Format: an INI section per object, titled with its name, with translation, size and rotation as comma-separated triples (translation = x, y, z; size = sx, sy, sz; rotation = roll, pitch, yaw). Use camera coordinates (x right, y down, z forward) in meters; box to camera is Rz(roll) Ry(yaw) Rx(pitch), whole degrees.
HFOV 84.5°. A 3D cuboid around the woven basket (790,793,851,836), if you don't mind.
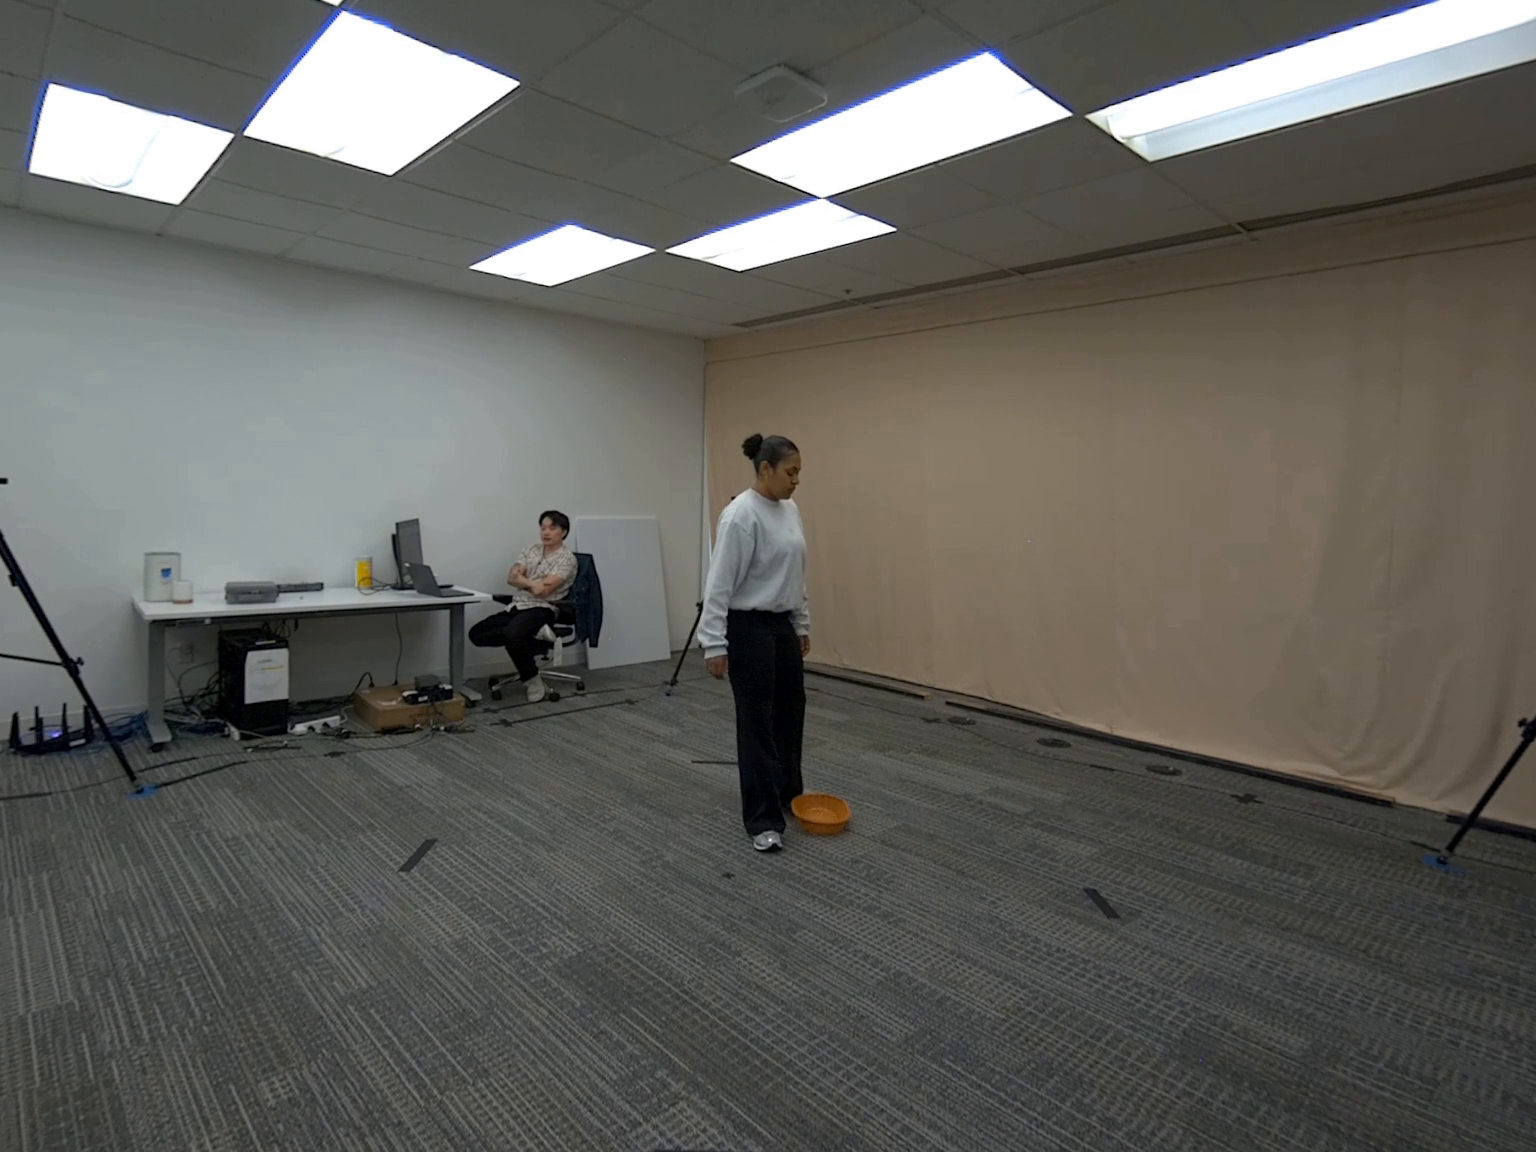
[woven basket]
translation = 0.218, 1.033, 3.614
size = 0.253, 0.073, 0.351
rotation = 1, 6, 2
